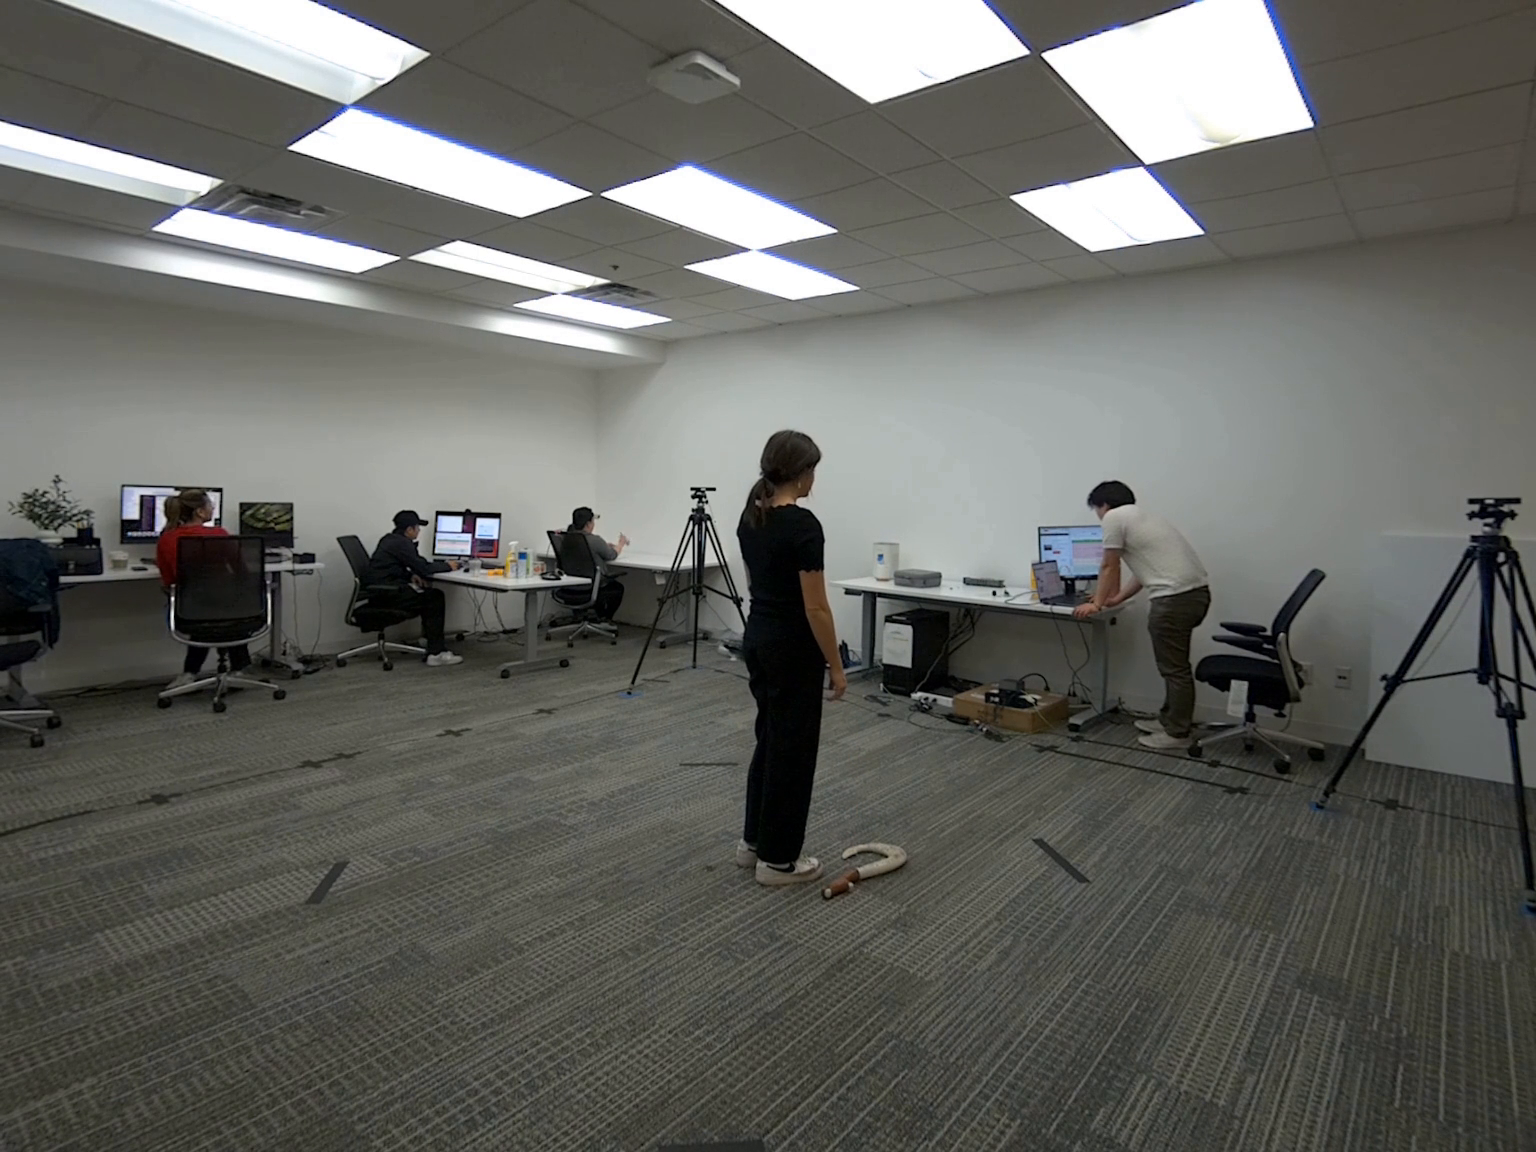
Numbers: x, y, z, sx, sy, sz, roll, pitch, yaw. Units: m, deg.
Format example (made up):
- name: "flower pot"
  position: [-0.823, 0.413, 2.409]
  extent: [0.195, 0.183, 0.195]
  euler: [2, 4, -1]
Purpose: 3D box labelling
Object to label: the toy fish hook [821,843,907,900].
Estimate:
- name: "toy fish hook"
  position: [0.306, 1.067, 3.105]
  extent: [0.231, 0.048, 0.491]
  euler: [-5, 0, 42]
